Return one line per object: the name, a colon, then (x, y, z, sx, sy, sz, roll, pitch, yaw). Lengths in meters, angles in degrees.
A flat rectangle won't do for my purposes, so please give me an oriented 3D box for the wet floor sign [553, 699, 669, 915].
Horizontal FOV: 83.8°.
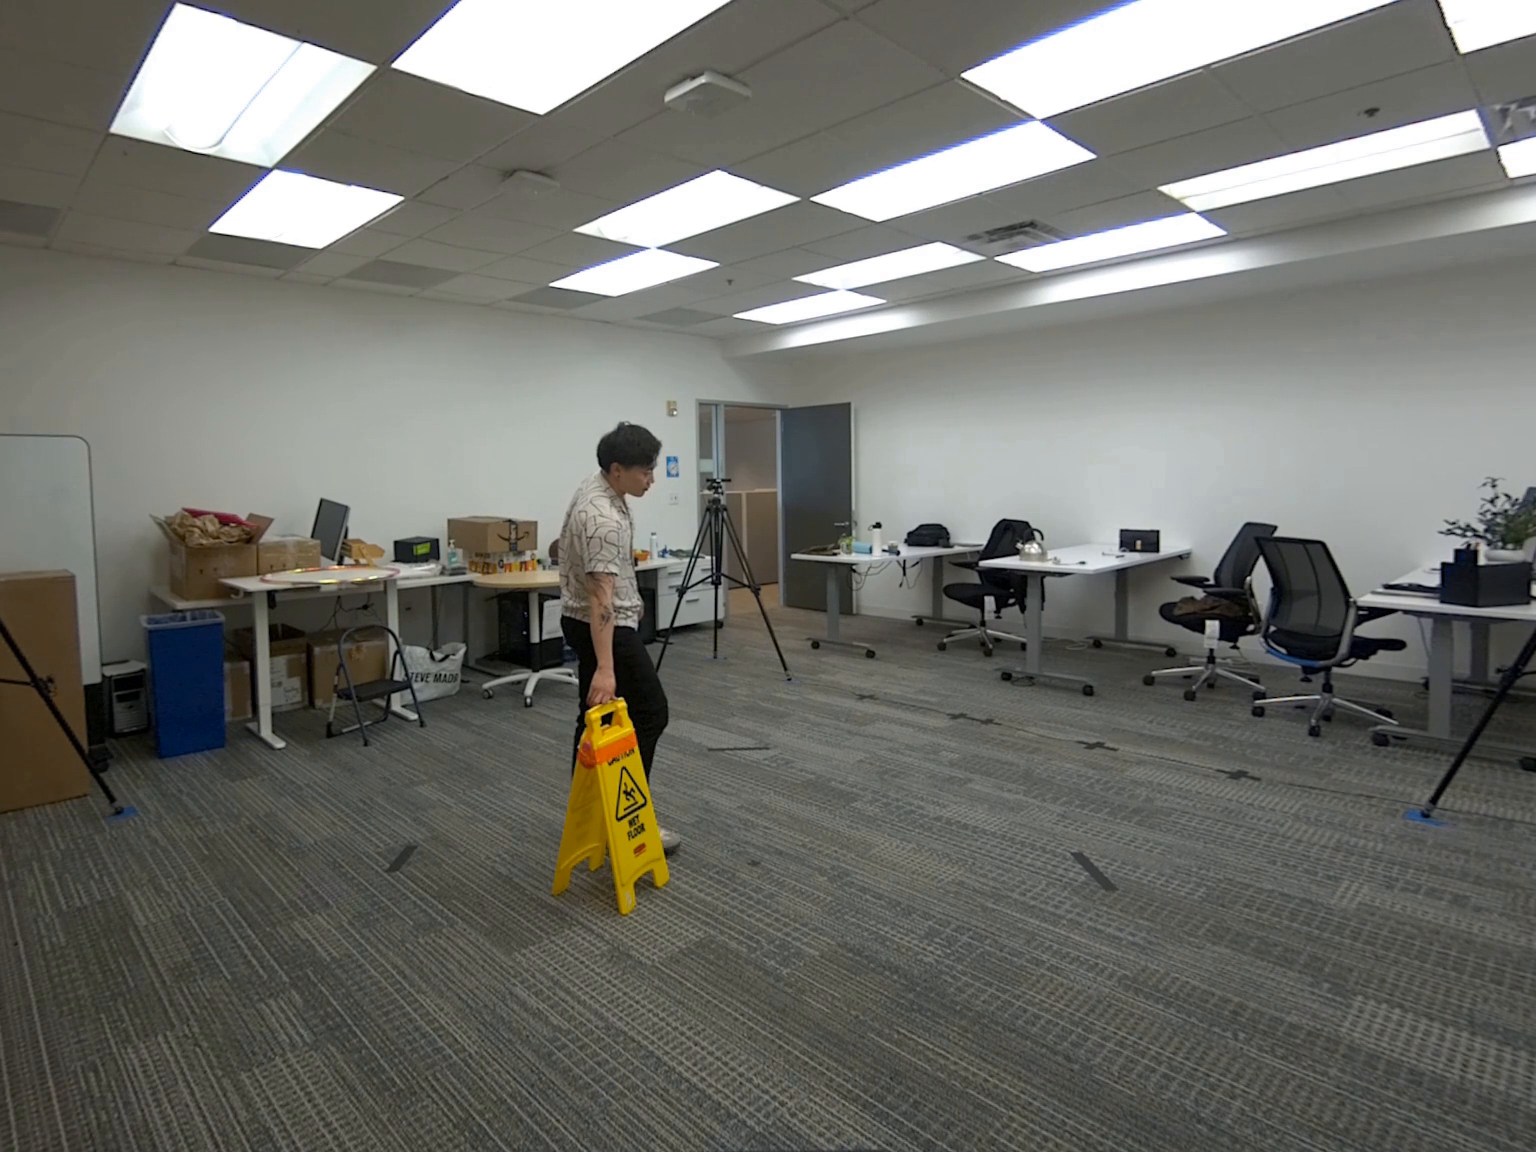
wet floor sign: (-0.539, 0.752, 2.917, 0.297, 0.643, 0.276, 2, 6, 28)
